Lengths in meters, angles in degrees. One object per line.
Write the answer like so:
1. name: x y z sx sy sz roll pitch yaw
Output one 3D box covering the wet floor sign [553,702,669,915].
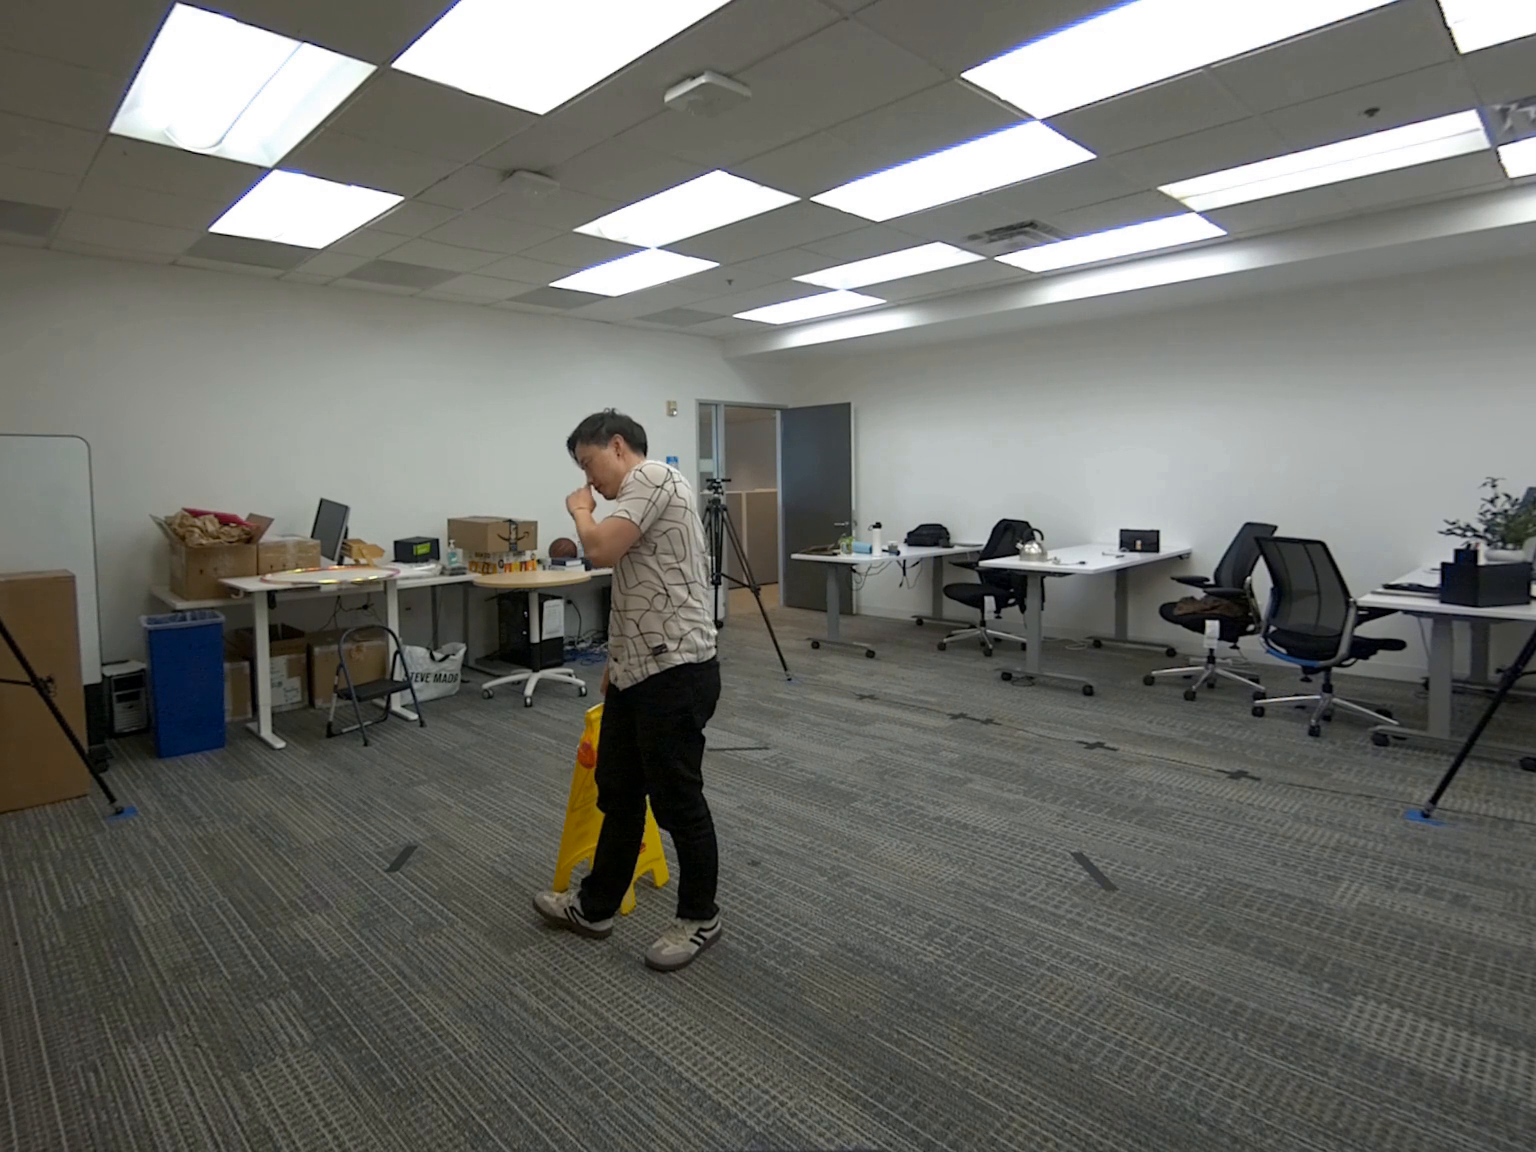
1. wet floor sign: -0.538 0.751 2.911 0.297 0.643 0.276 2 6 28
